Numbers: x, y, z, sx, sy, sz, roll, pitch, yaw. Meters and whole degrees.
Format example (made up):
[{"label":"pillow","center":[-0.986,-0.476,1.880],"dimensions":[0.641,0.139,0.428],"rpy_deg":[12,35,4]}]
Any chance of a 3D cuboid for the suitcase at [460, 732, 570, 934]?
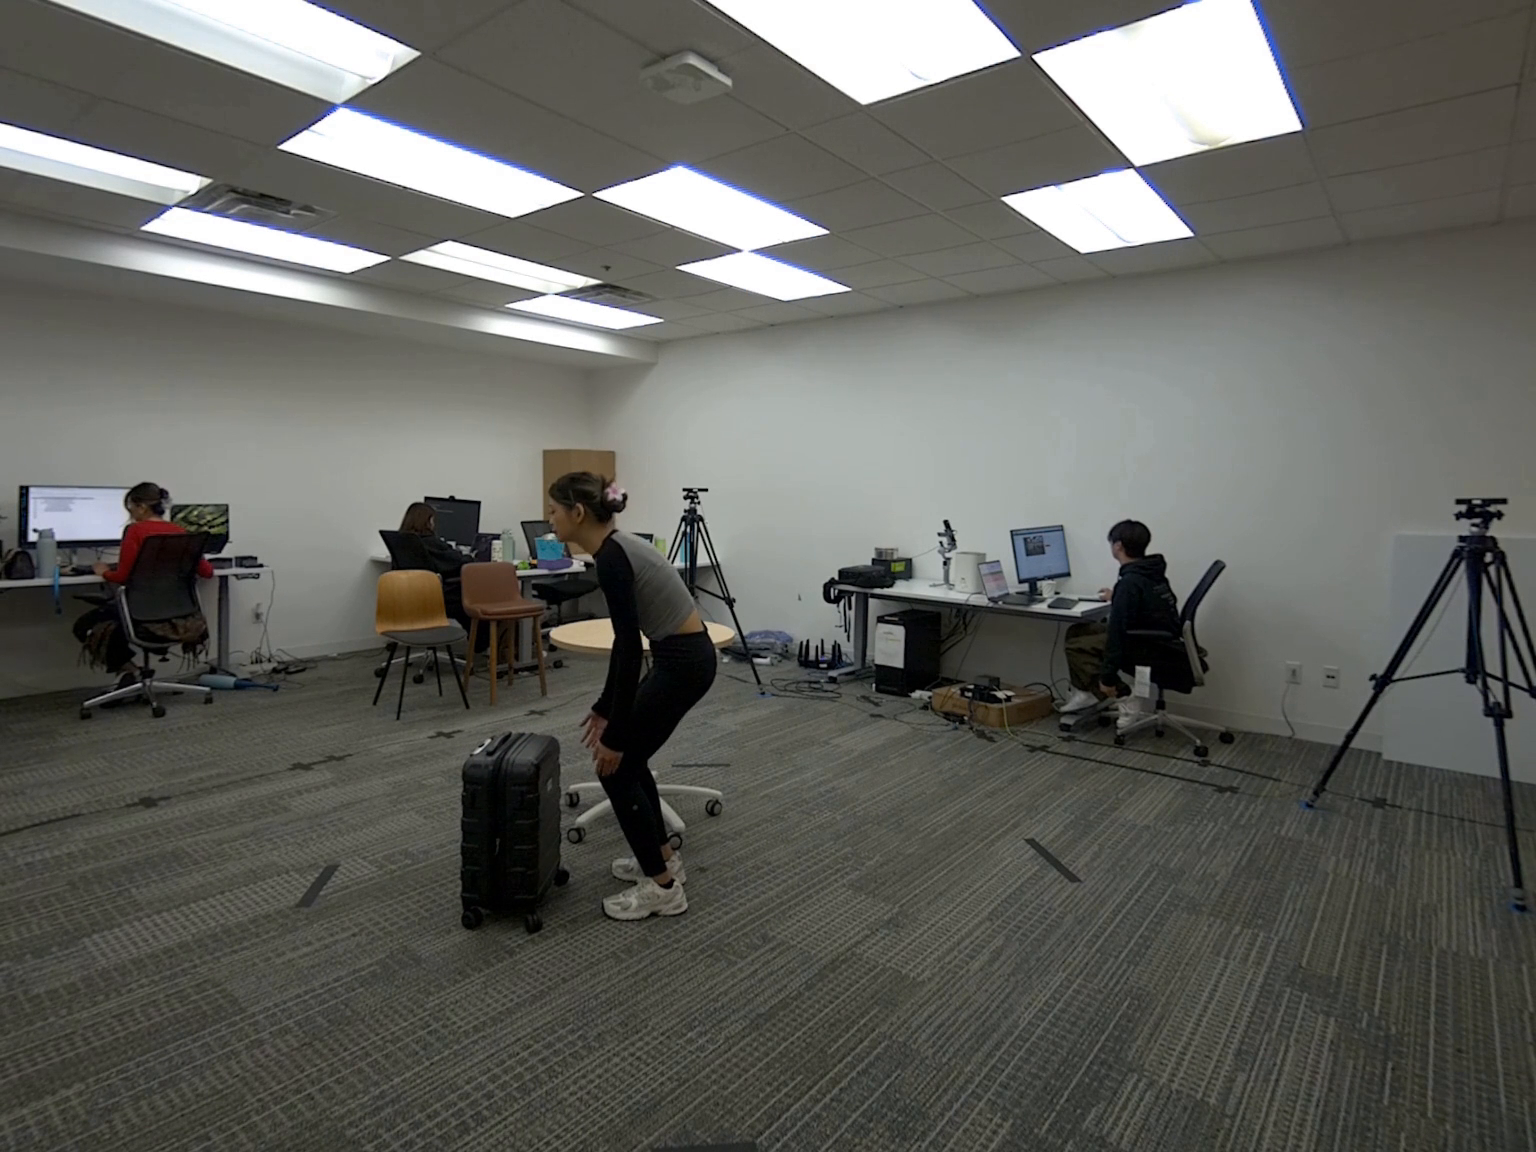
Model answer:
[{"label":"suitcase","center":[-0.851,0.813,2.815],"dimensions":[0.249,0.548,0.375],"rpy_deg":[0,3,2]}]
